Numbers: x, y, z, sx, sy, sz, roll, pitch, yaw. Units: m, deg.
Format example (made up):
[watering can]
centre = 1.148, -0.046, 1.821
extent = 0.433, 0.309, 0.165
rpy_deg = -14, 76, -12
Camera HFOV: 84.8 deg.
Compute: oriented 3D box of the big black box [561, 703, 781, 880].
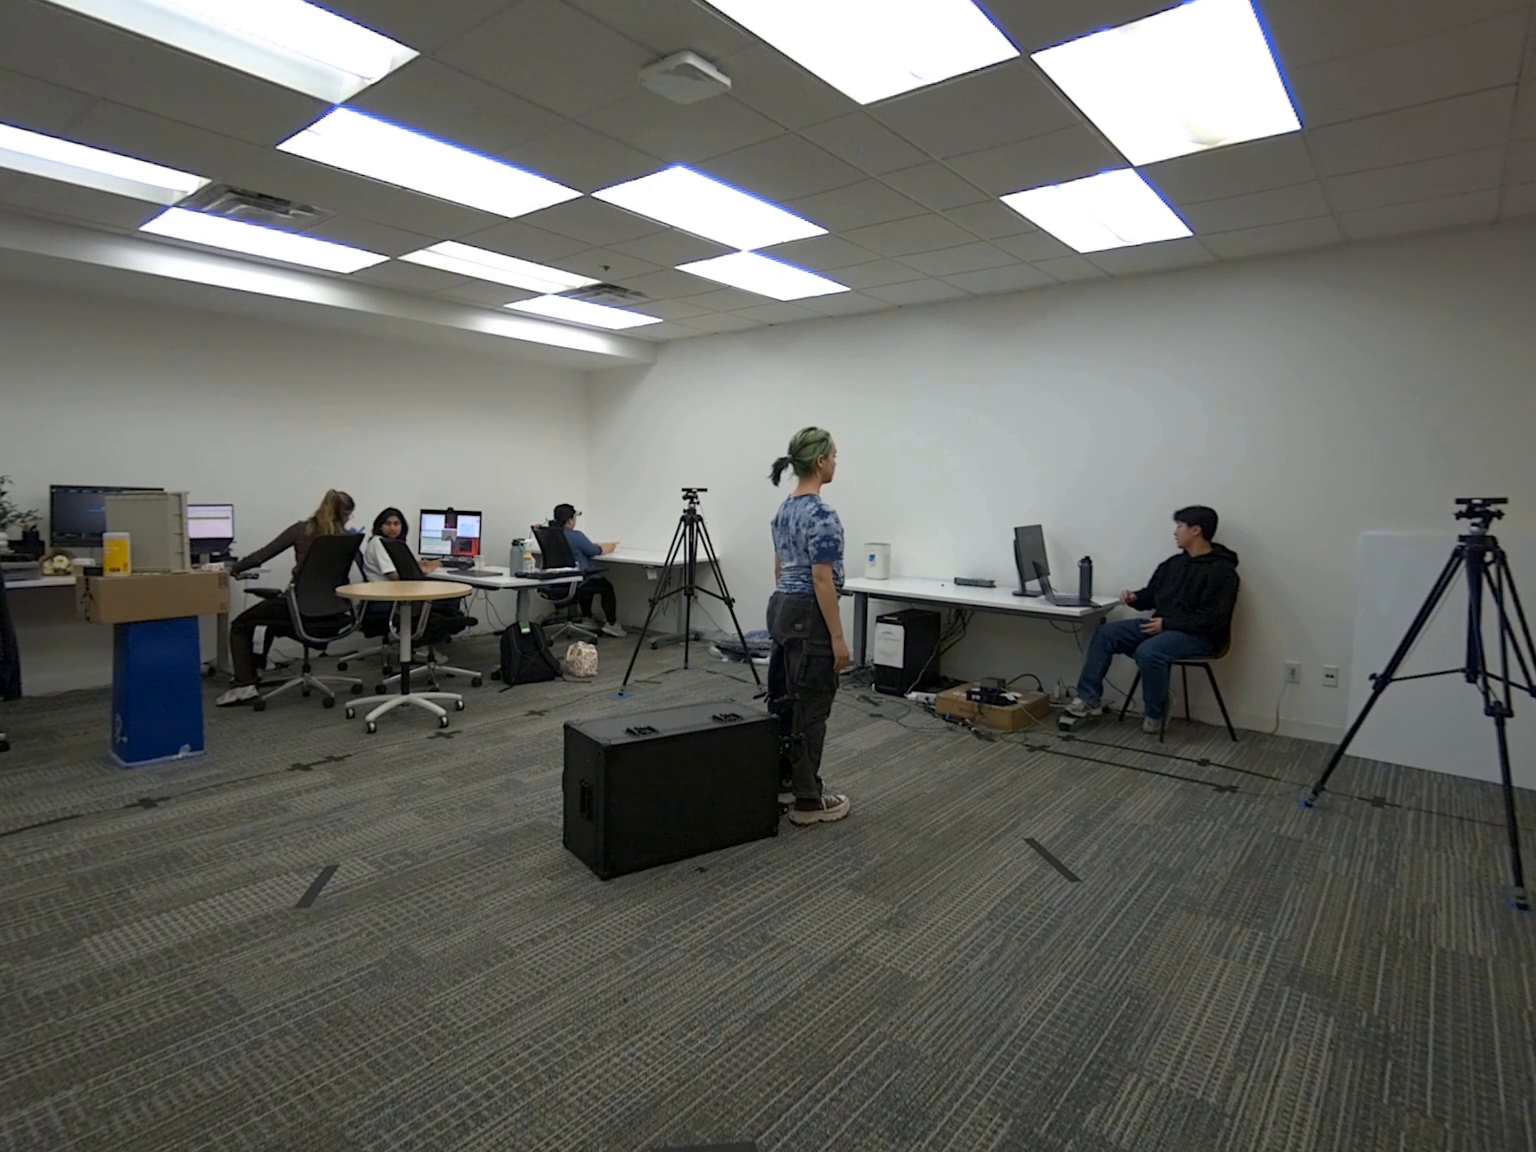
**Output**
[big black box]
centre = -0.365, 0.798, 3.368
extent = 0.837, 0.520, 0.409
rpy_deg = -2, 5, -34
